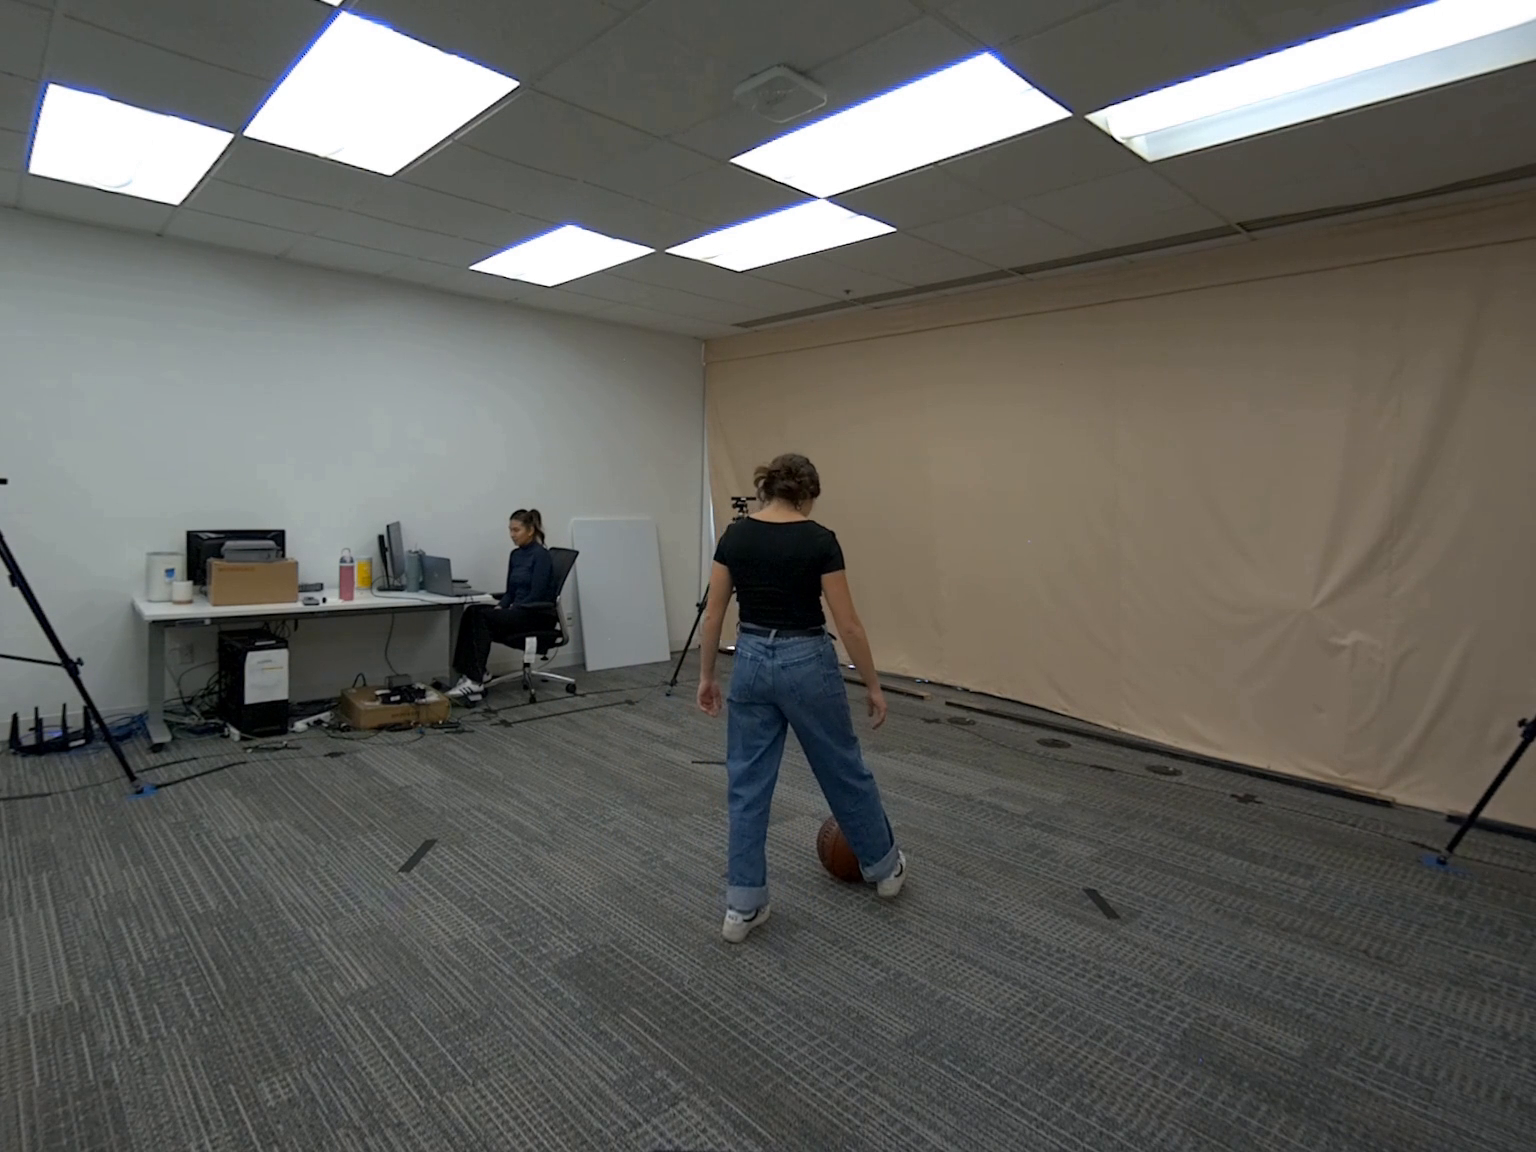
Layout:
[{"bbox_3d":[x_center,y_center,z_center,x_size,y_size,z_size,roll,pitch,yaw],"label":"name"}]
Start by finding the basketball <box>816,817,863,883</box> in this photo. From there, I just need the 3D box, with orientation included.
[{"bbox_3d":[0.292,0.993,3.108,0.236,0.235,0.237,1,4,-1],"label":"basketball"}]
